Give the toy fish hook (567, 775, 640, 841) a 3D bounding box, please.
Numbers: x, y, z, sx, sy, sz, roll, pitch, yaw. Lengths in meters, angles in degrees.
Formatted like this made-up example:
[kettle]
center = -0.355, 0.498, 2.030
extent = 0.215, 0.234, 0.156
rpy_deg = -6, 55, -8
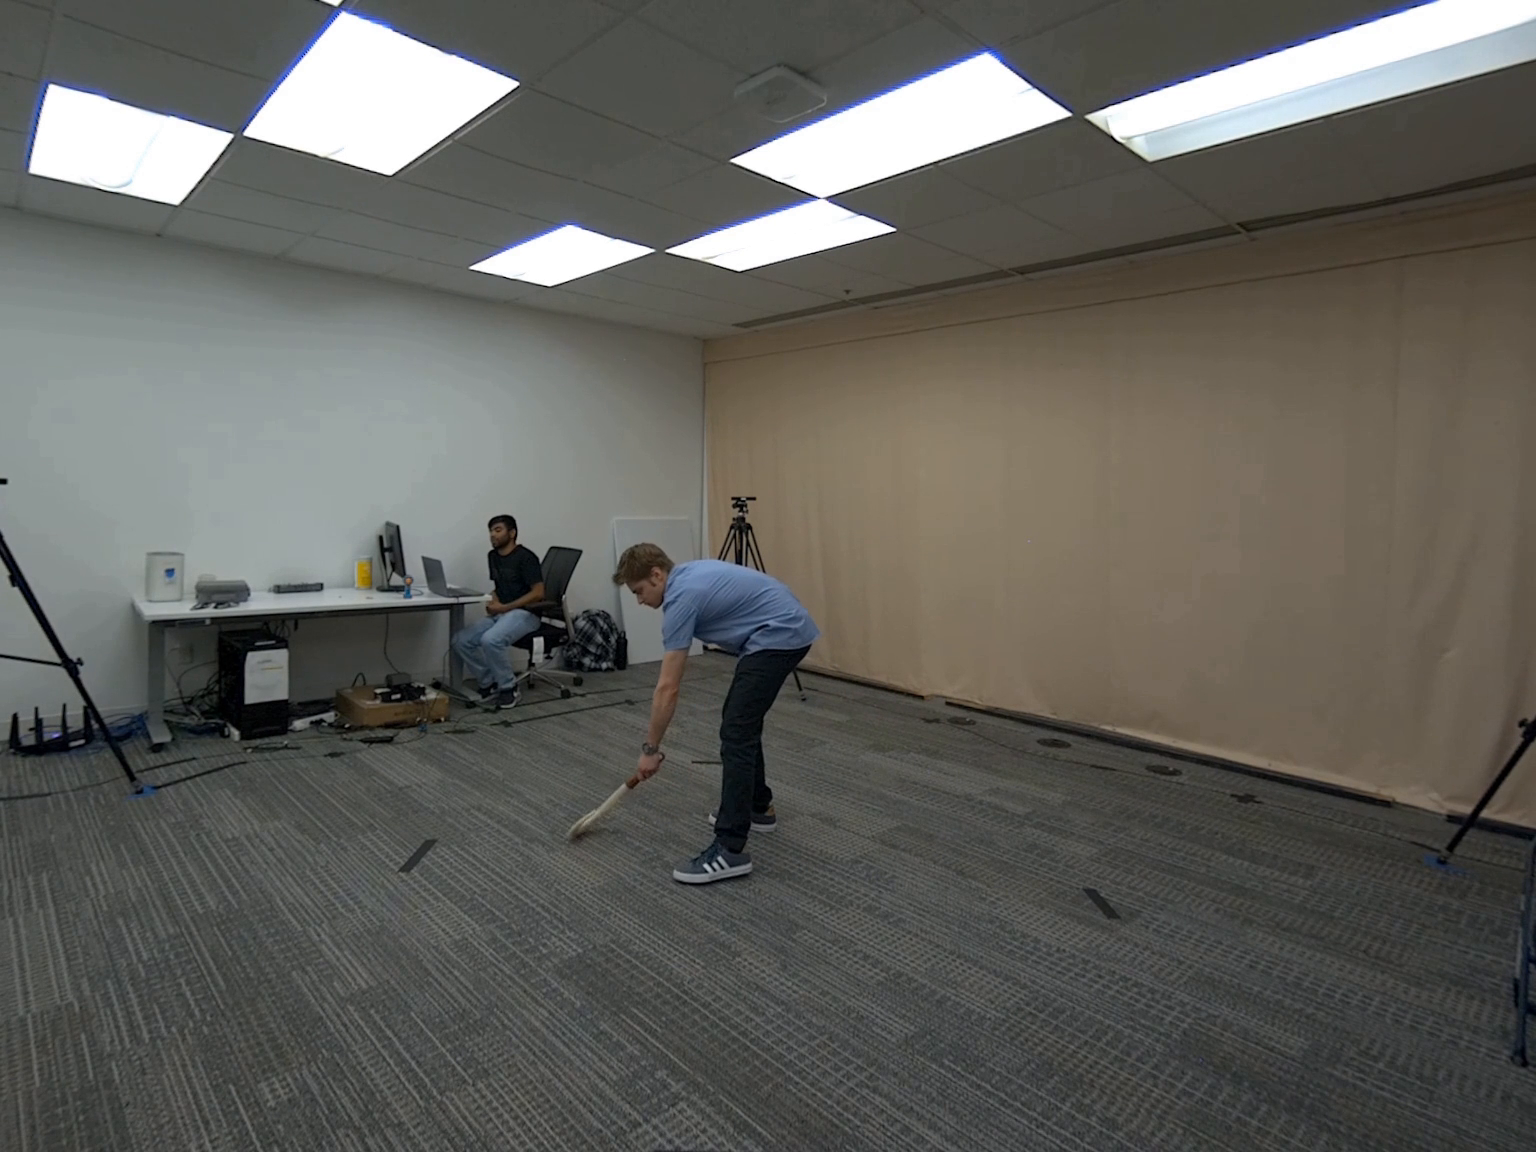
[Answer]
[toy fish hook]
center = -0.617, 0.889, 3.371
extent = 0.049, 0.507, 0.222
rpy_deg = 47, 10, 6
